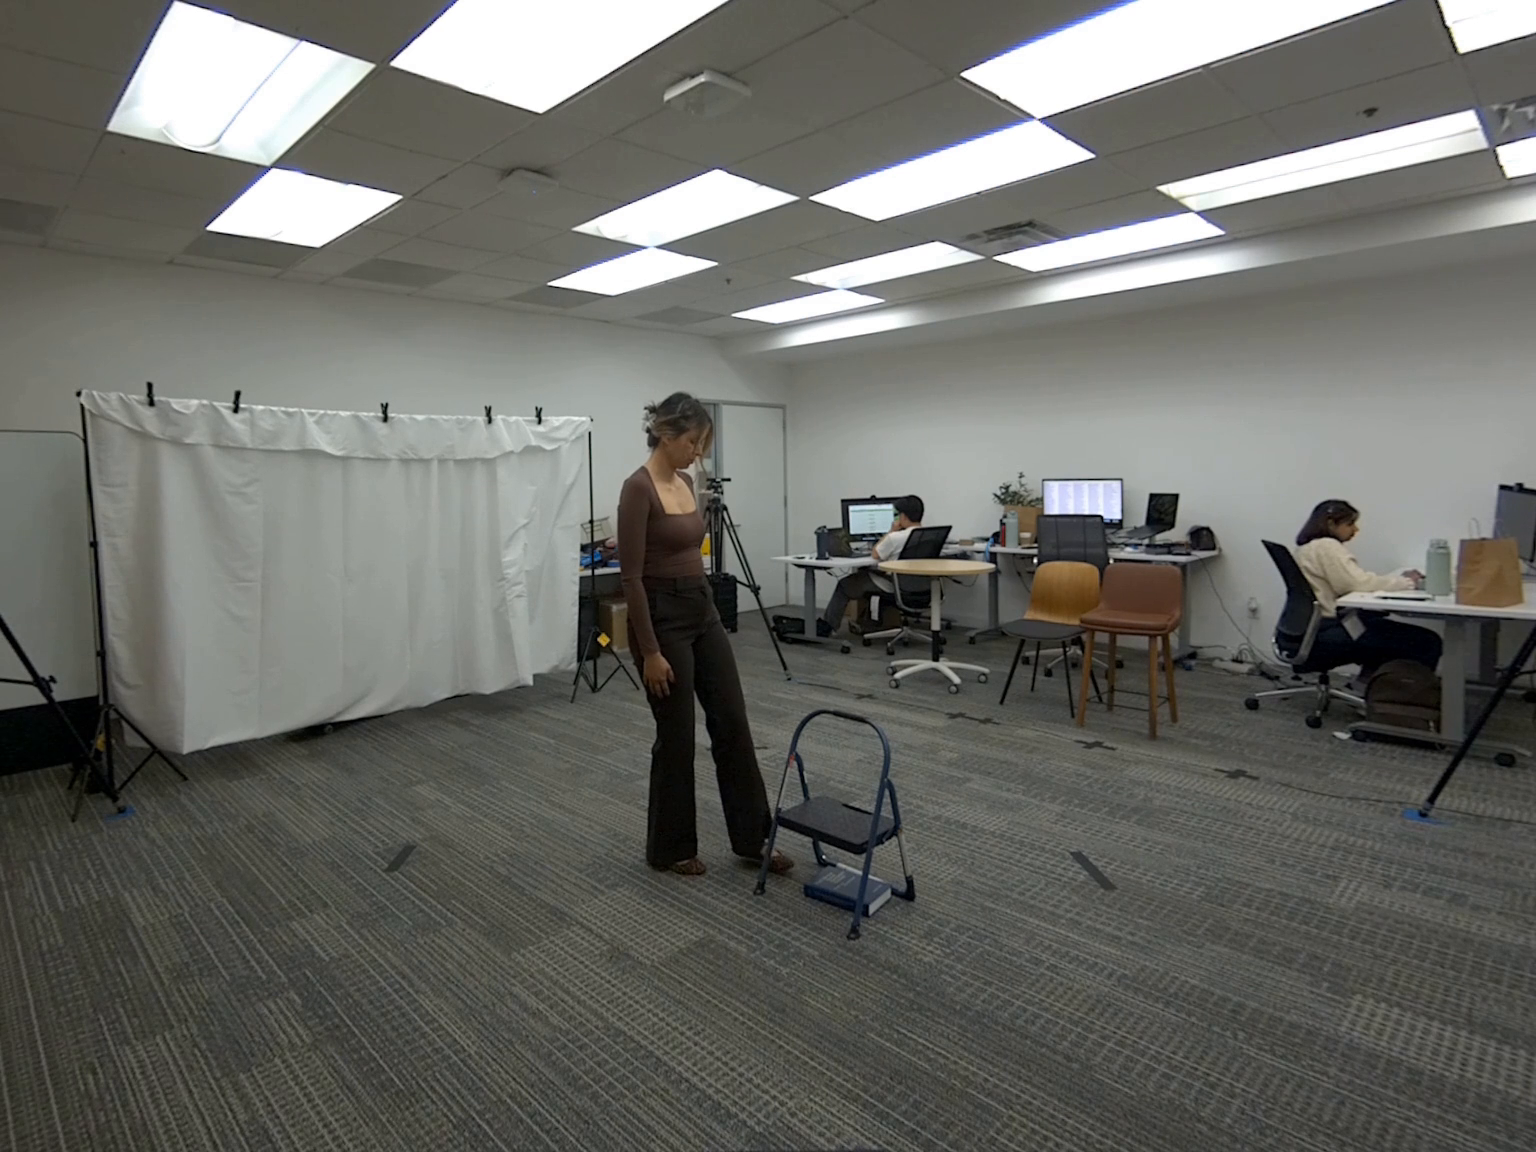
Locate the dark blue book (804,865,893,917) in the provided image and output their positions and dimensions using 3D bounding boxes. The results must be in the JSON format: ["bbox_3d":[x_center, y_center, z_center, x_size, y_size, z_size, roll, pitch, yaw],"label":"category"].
[{"bbox_3d":[0.265,1.043,2.832,0.252,0.045,0.159,4,8,36],"label":"dark blue book"}]
